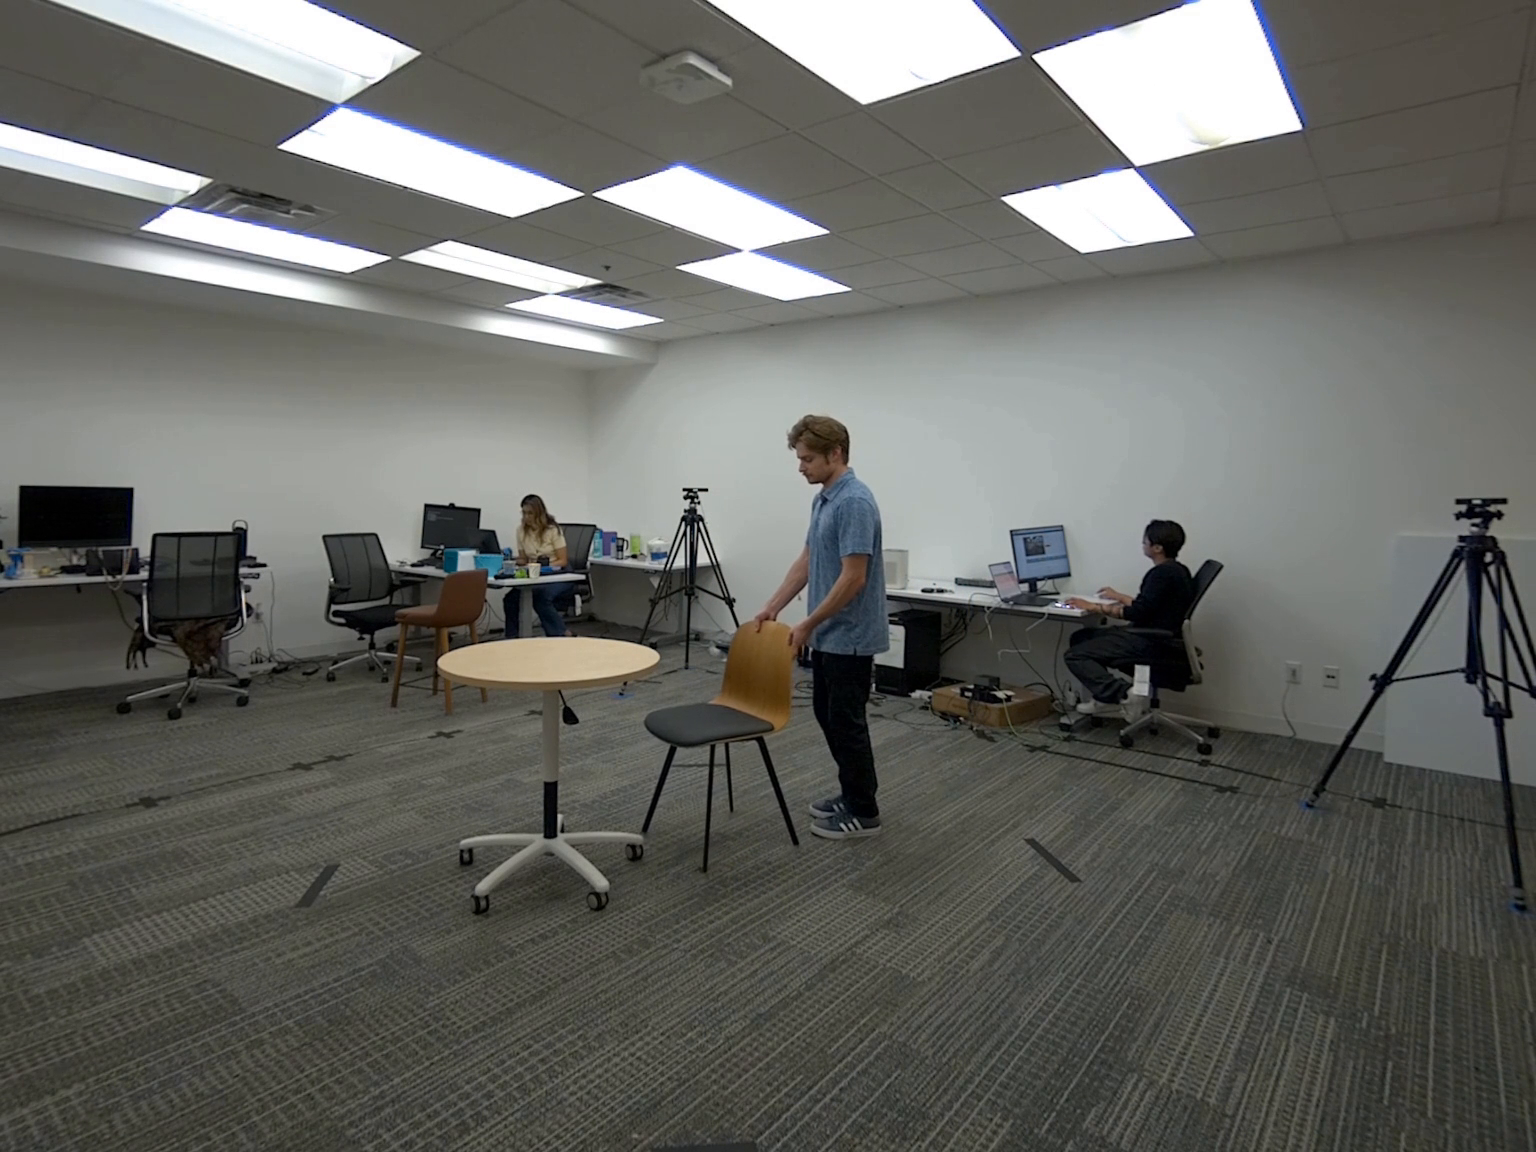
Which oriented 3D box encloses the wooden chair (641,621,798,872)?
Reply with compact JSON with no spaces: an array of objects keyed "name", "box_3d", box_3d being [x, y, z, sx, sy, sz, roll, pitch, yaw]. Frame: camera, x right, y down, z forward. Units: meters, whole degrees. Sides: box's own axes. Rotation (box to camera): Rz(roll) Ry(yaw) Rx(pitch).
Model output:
[{"name":"wooden chair","box_3d":[-0.201,0.620,3.356,0.506,0.877,0.494,4,1,-38]}]
